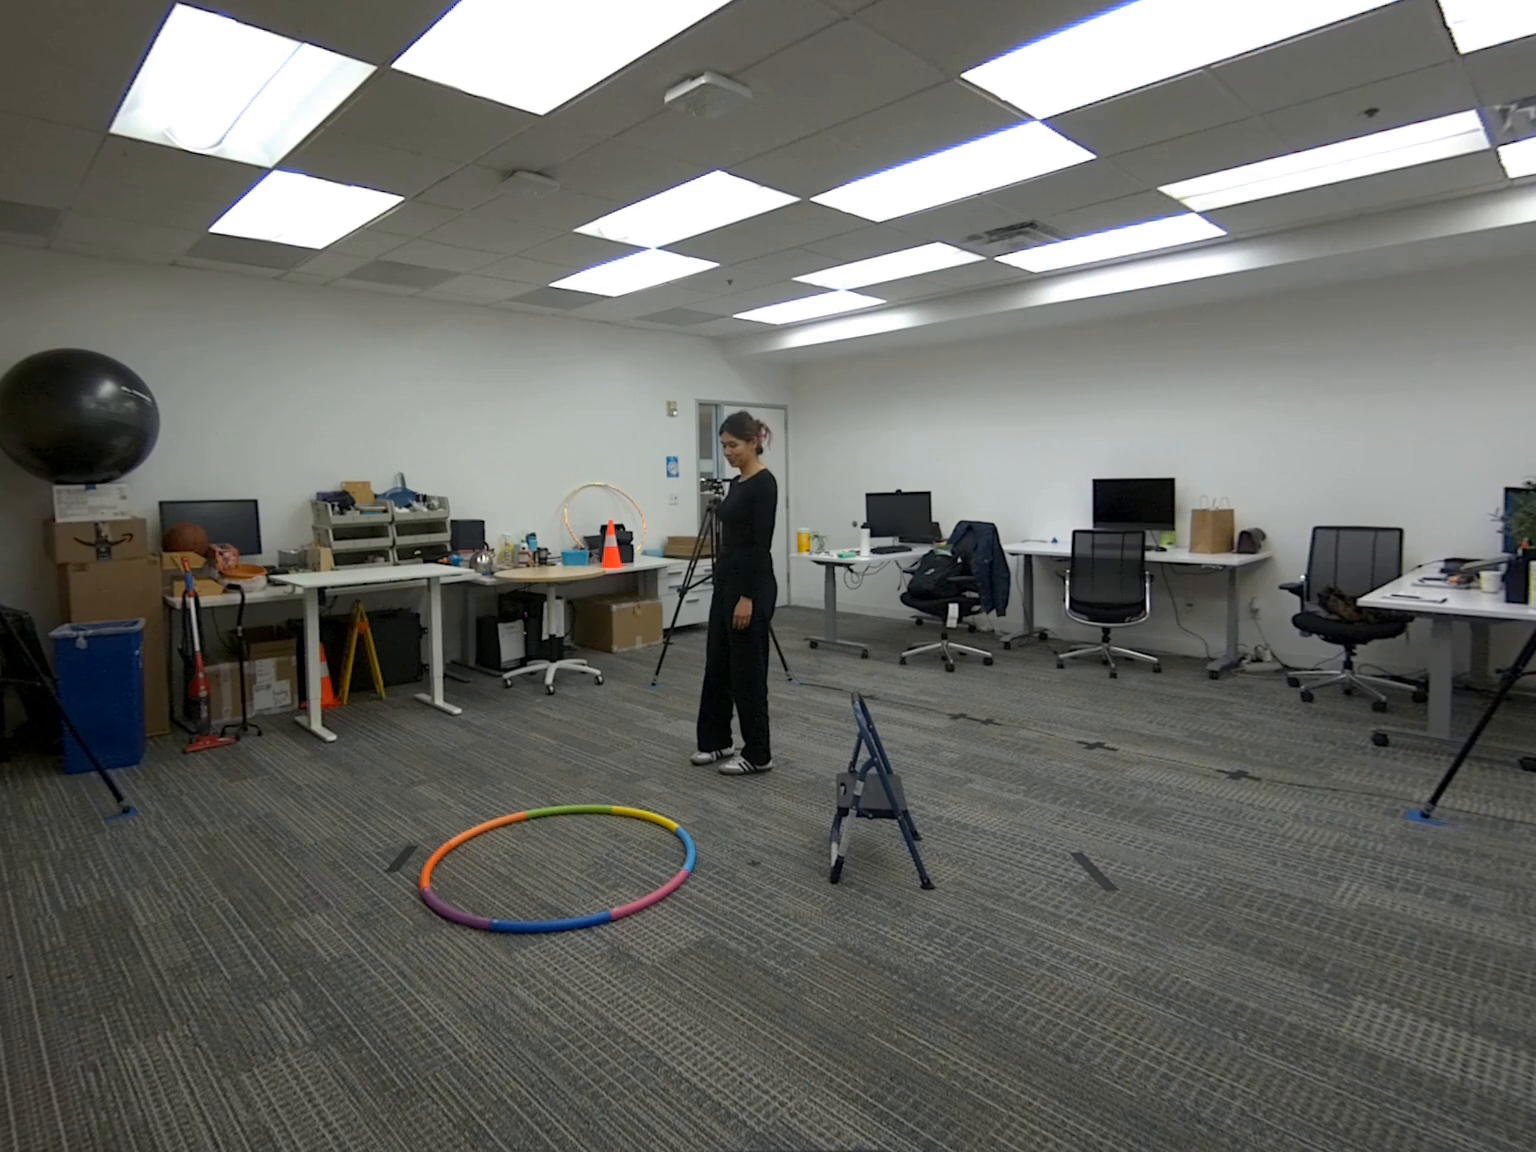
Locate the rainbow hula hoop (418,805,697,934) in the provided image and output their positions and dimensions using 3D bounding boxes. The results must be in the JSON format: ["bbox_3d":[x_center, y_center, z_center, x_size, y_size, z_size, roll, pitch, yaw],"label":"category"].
[{"bbox_3d":[-0.747,1.021,3.132,0.978,0.035,0.984,-2,7,-2],"label":"rainbow hula hoop"}]
